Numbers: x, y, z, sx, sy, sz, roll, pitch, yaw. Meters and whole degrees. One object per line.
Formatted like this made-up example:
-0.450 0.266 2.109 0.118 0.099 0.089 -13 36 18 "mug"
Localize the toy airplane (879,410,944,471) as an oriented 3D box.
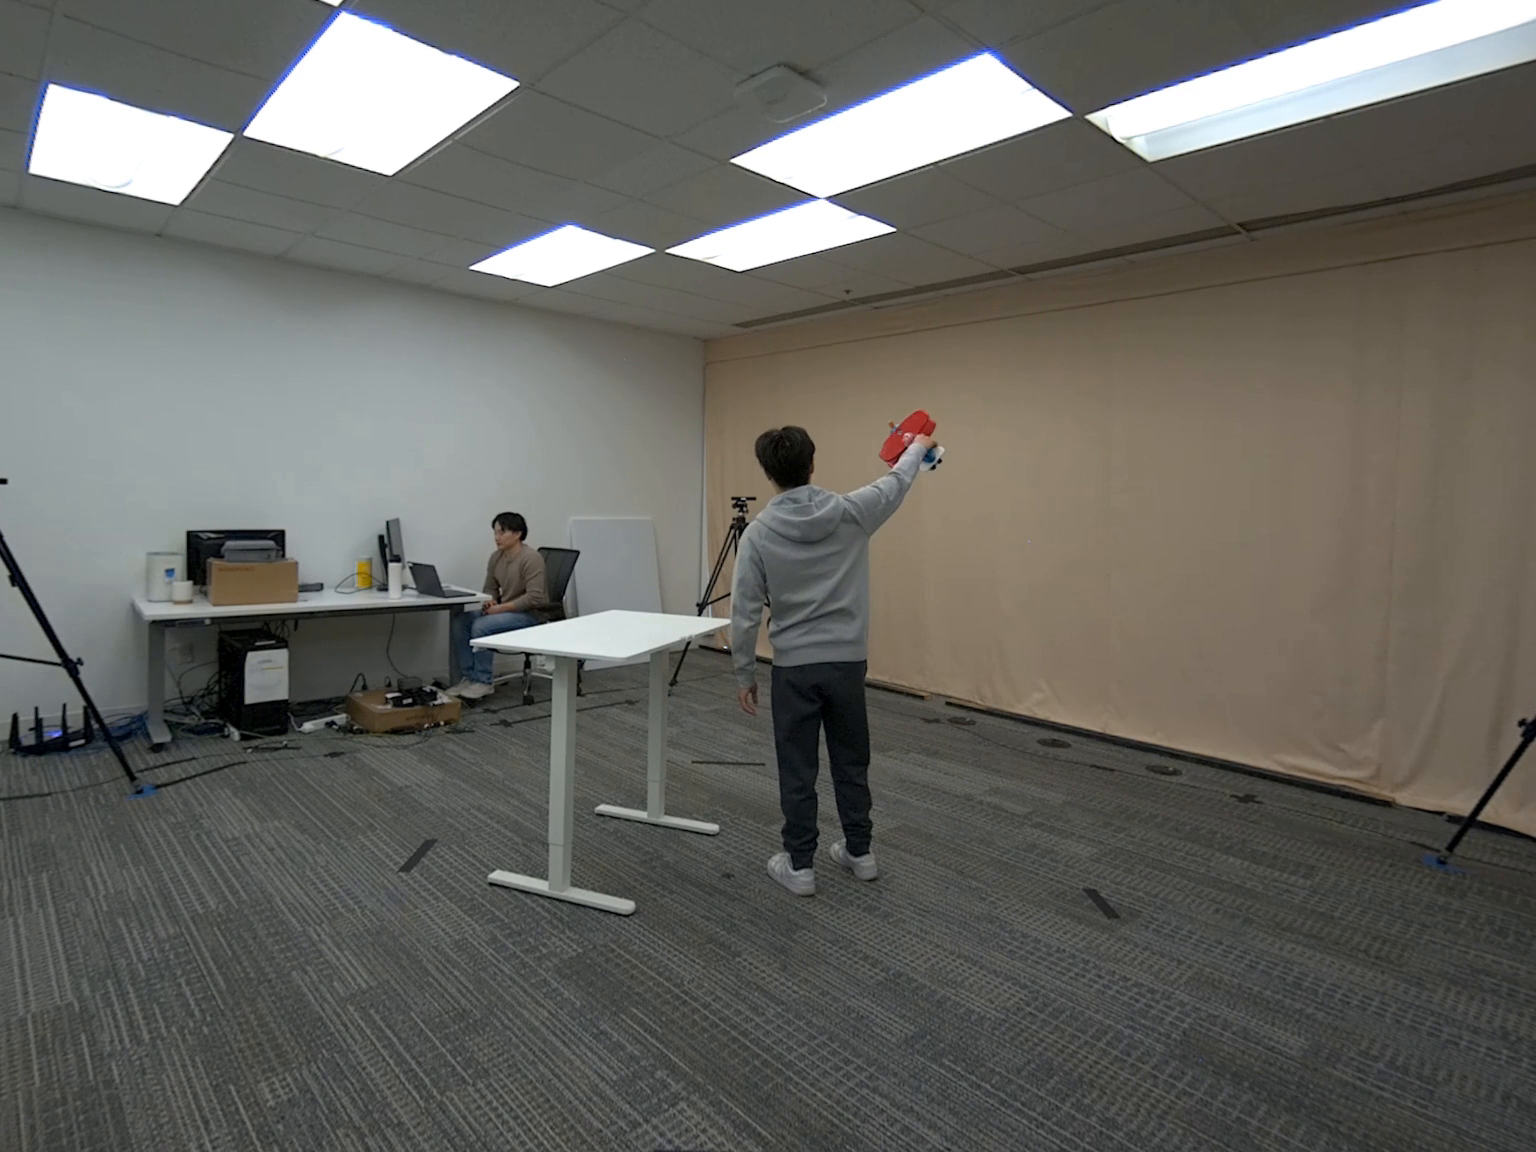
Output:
0.607 -0.535 3.434 0.152 0.252 0.266 35 -17 -37 "toy airplane"
